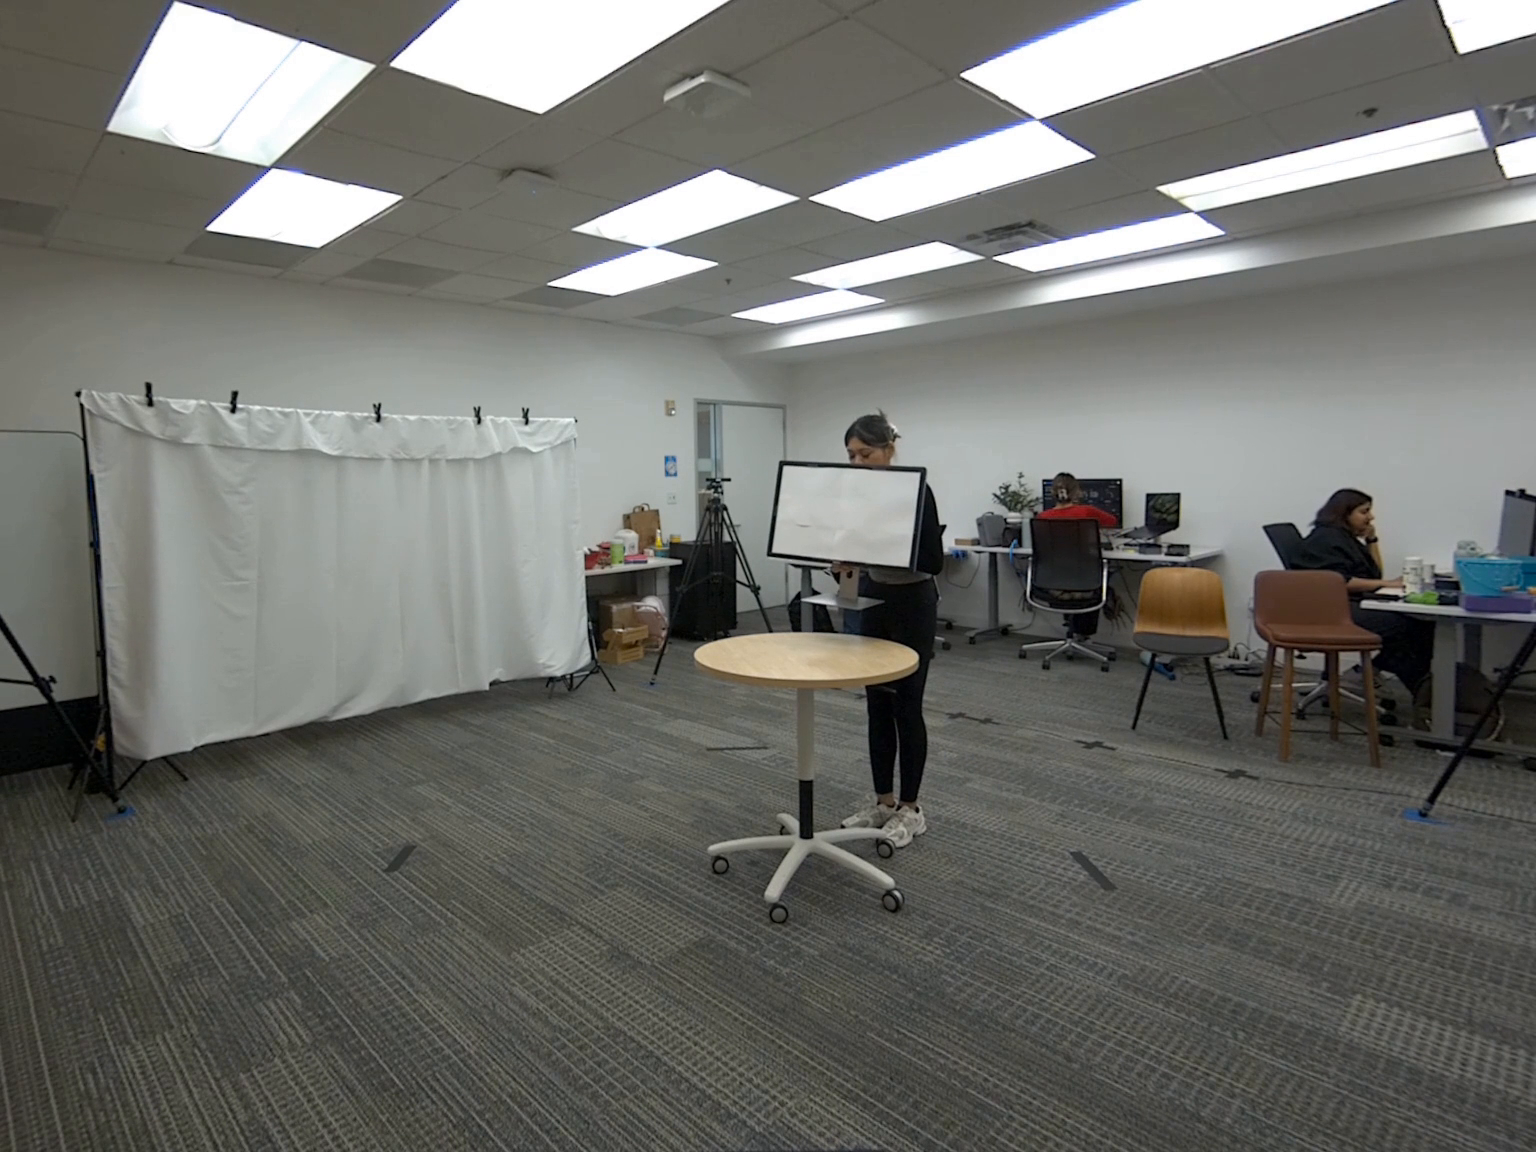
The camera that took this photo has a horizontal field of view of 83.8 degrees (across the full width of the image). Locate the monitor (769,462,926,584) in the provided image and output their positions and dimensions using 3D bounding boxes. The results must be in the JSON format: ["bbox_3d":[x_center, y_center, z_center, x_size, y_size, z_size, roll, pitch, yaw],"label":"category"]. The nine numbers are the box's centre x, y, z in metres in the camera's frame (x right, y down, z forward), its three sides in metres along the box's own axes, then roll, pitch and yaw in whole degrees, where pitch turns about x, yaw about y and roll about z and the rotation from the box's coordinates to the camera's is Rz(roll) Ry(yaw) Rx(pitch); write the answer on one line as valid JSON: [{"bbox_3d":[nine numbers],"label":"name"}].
[{"bbox_3d":[0.287,-0.143,3.086,0.553,0.519,0.183,6,7,27],"label":"monitor"}]
